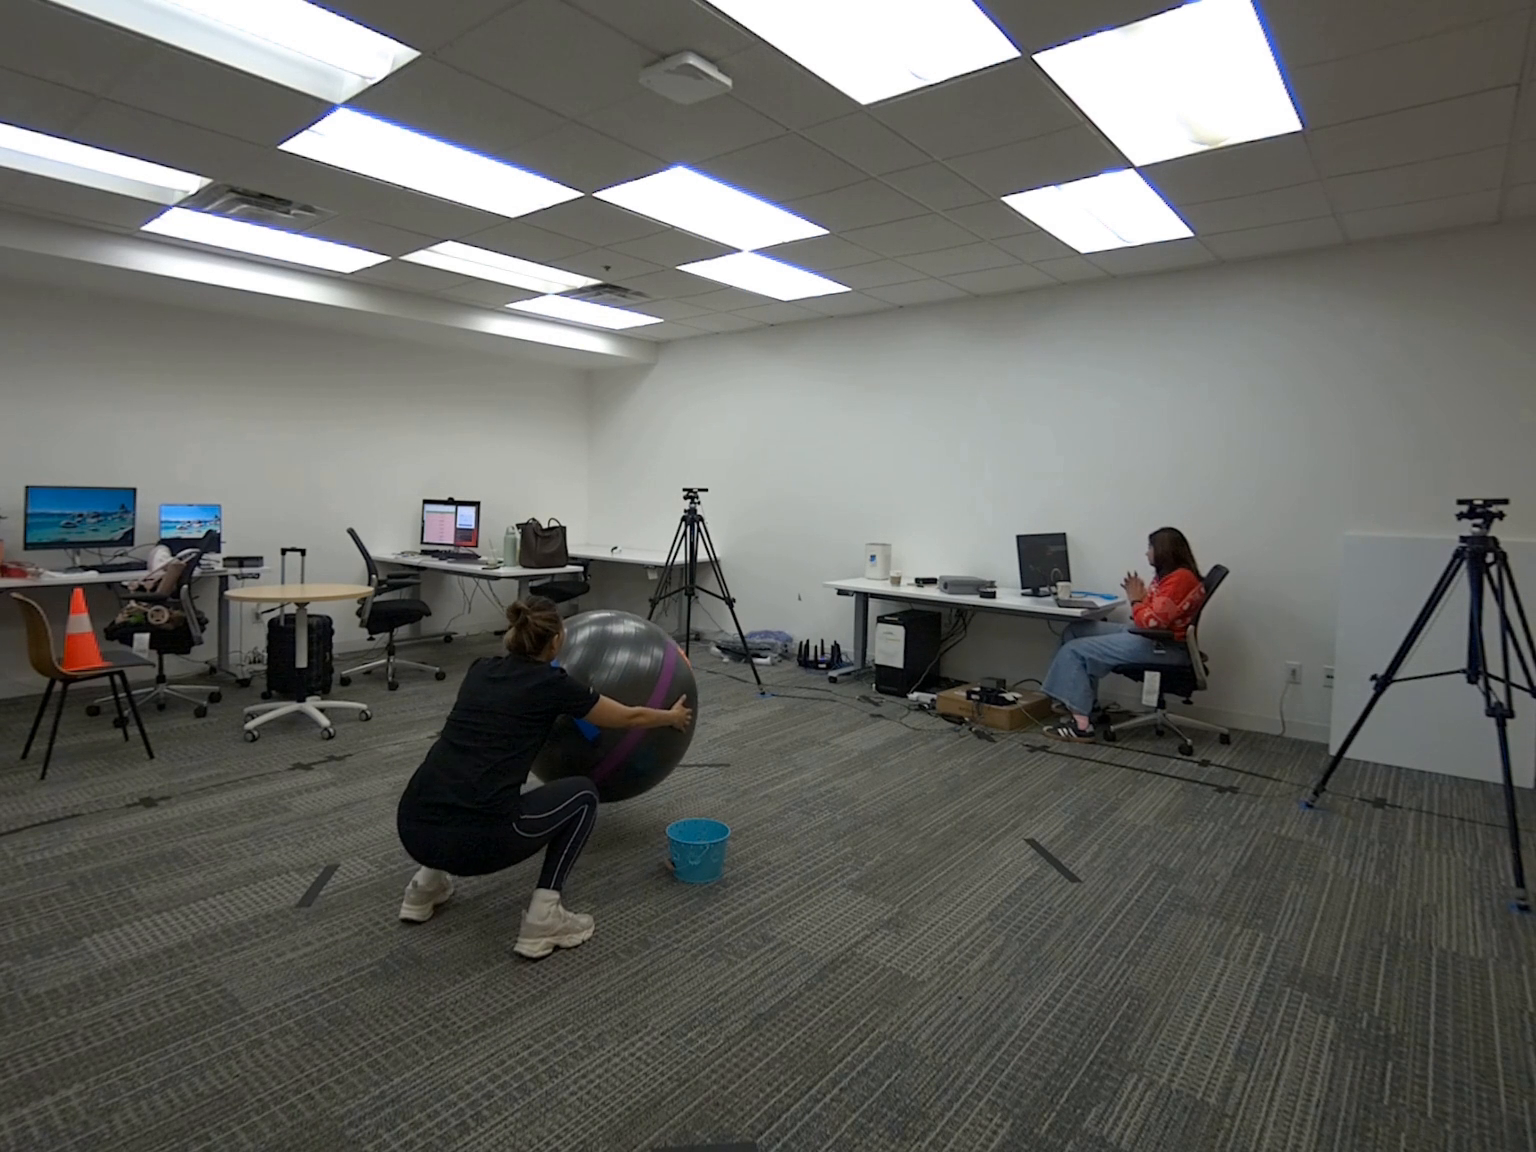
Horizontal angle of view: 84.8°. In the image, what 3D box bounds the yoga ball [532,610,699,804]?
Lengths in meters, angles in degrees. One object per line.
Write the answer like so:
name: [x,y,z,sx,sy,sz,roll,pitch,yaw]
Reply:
yoga ball: [-0.668,0.516,3.434,0.757,0.756,0.762,1,4,-2]
